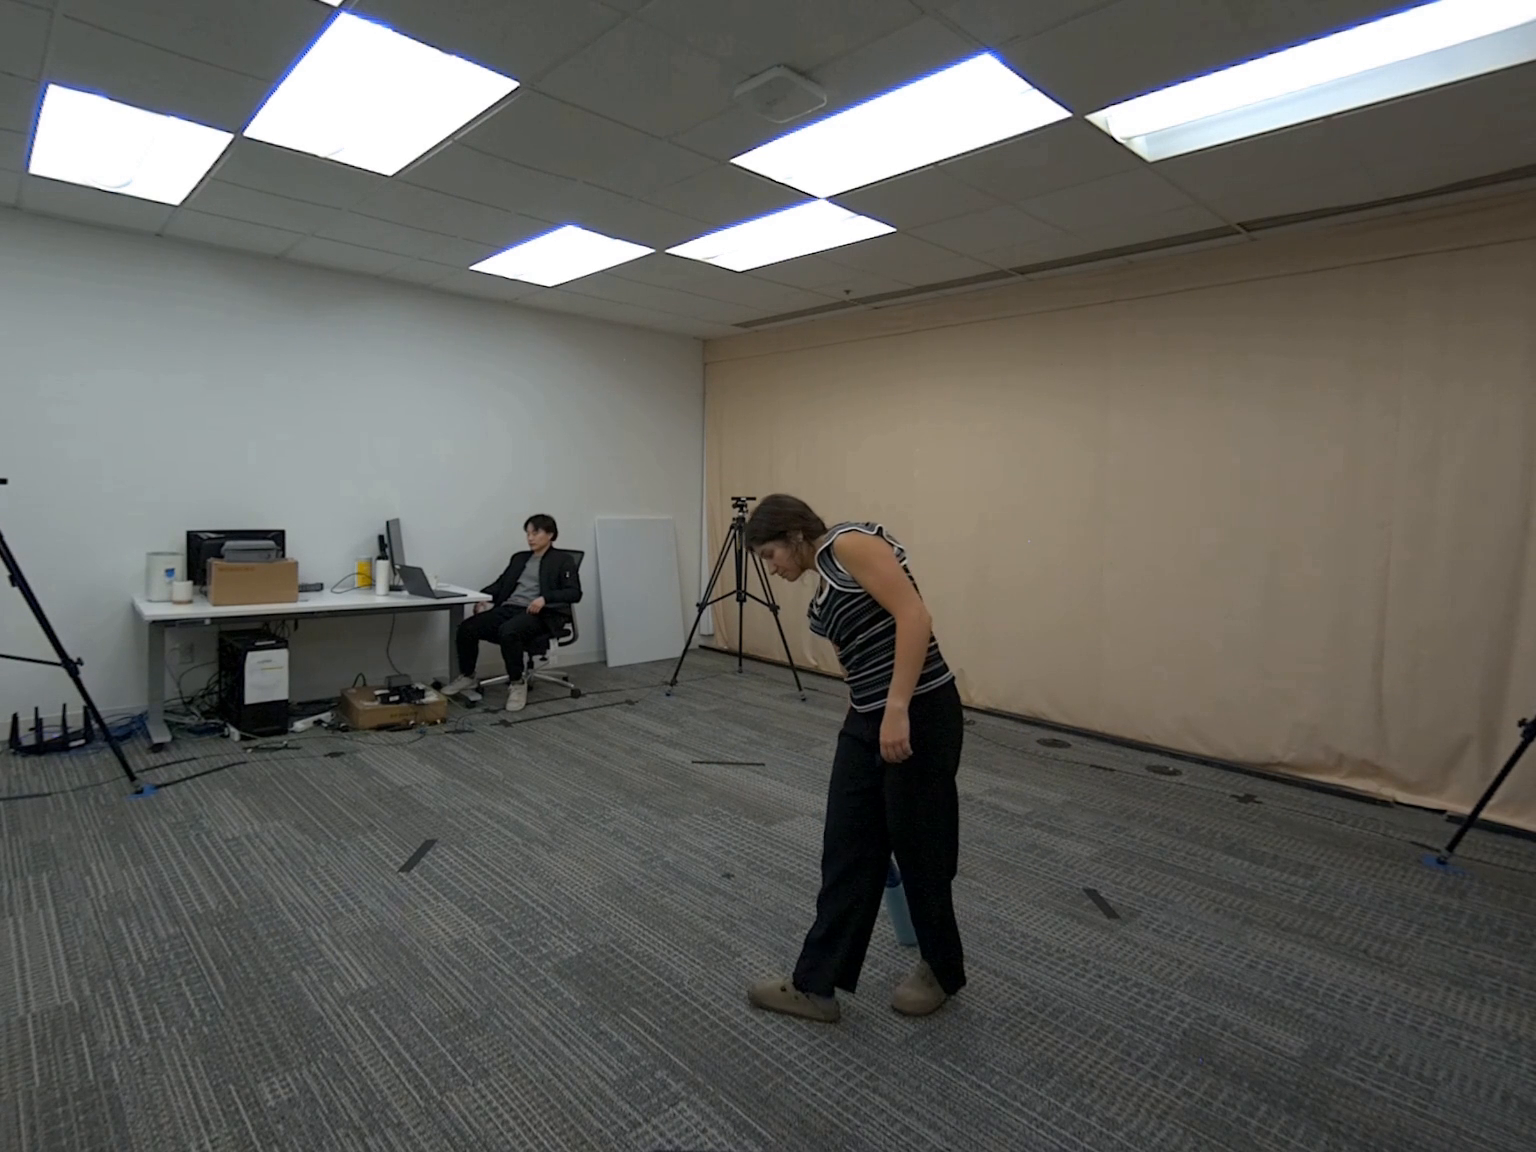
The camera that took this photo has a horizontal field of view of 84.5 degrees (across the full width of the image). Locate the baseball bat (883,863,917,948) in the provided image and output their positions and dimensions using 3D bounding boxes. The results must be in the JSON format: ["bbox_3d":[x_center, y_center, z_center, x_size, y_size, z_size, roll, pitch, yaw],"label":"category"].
[{"bbox_3d":[0.371,0.923,2.566,0.089,0.531,0.090,-16,24,6],"label":"baseball bat"}]
